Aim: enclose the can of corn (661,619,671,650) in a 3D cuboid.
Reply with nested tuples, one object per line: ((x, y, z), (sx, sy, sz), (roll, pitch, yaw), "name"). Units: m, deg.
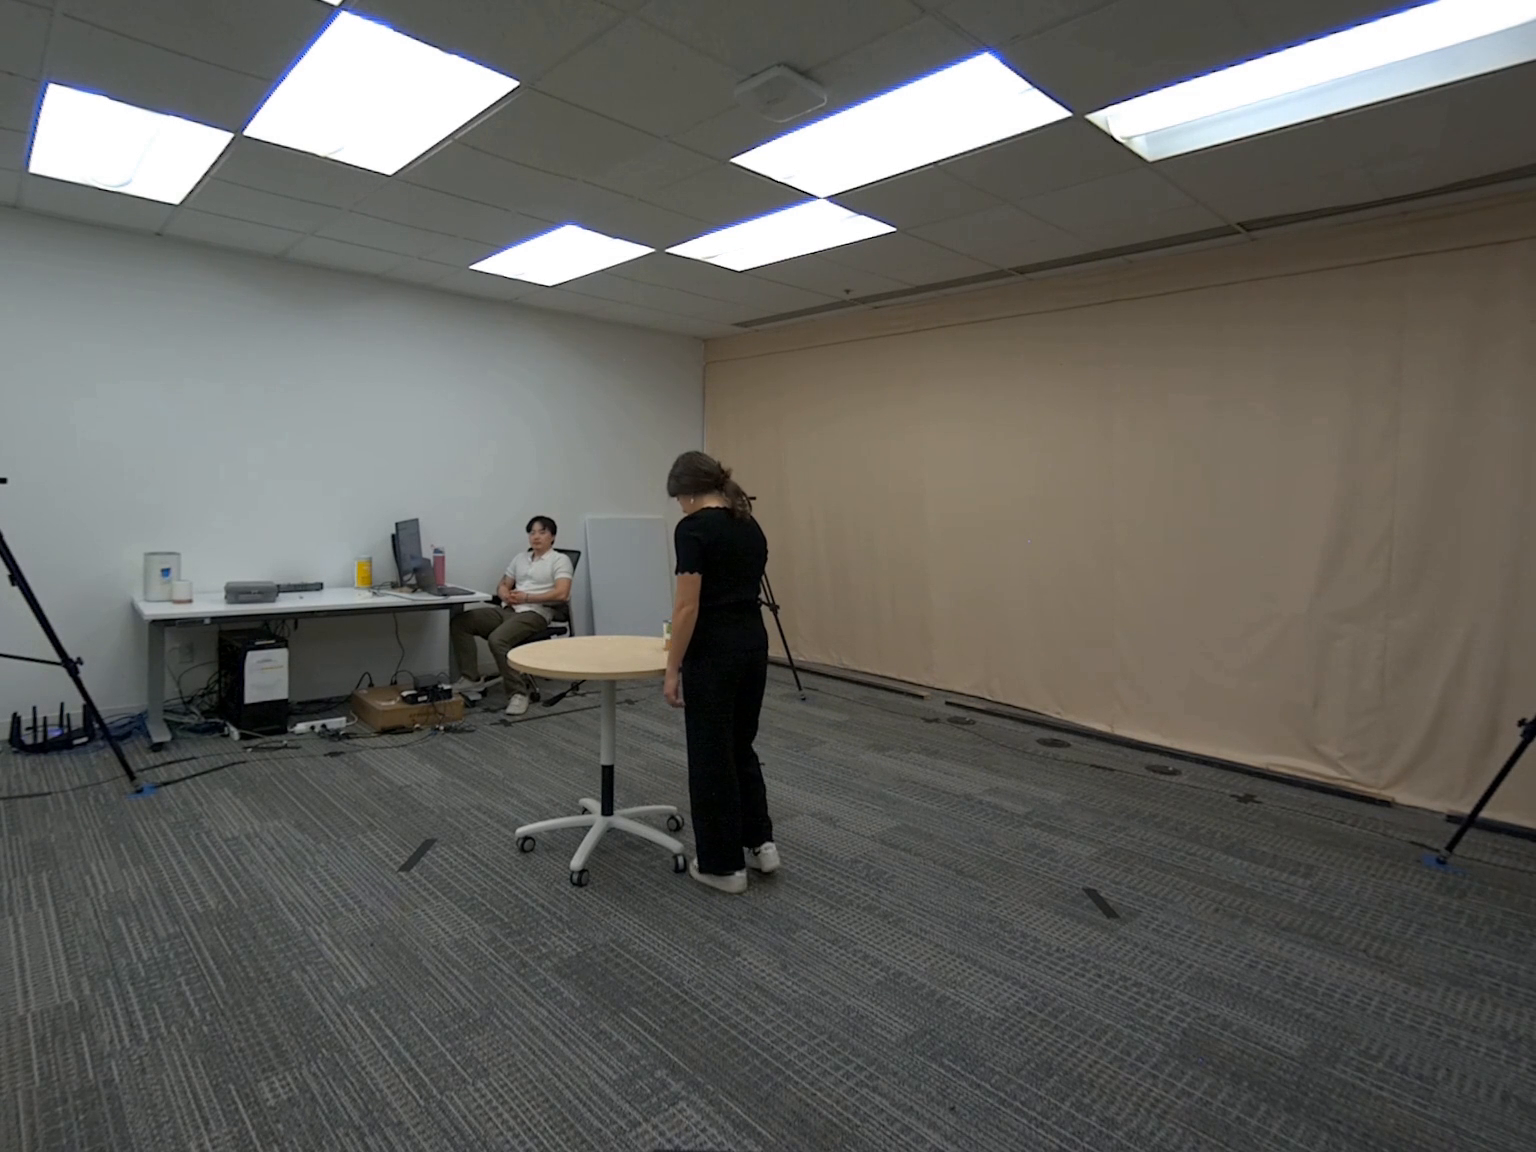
((-0.380, 0.234, 3.340), (0.074, 0.111, 0.074), (1, 3, -1), "can of corn")
